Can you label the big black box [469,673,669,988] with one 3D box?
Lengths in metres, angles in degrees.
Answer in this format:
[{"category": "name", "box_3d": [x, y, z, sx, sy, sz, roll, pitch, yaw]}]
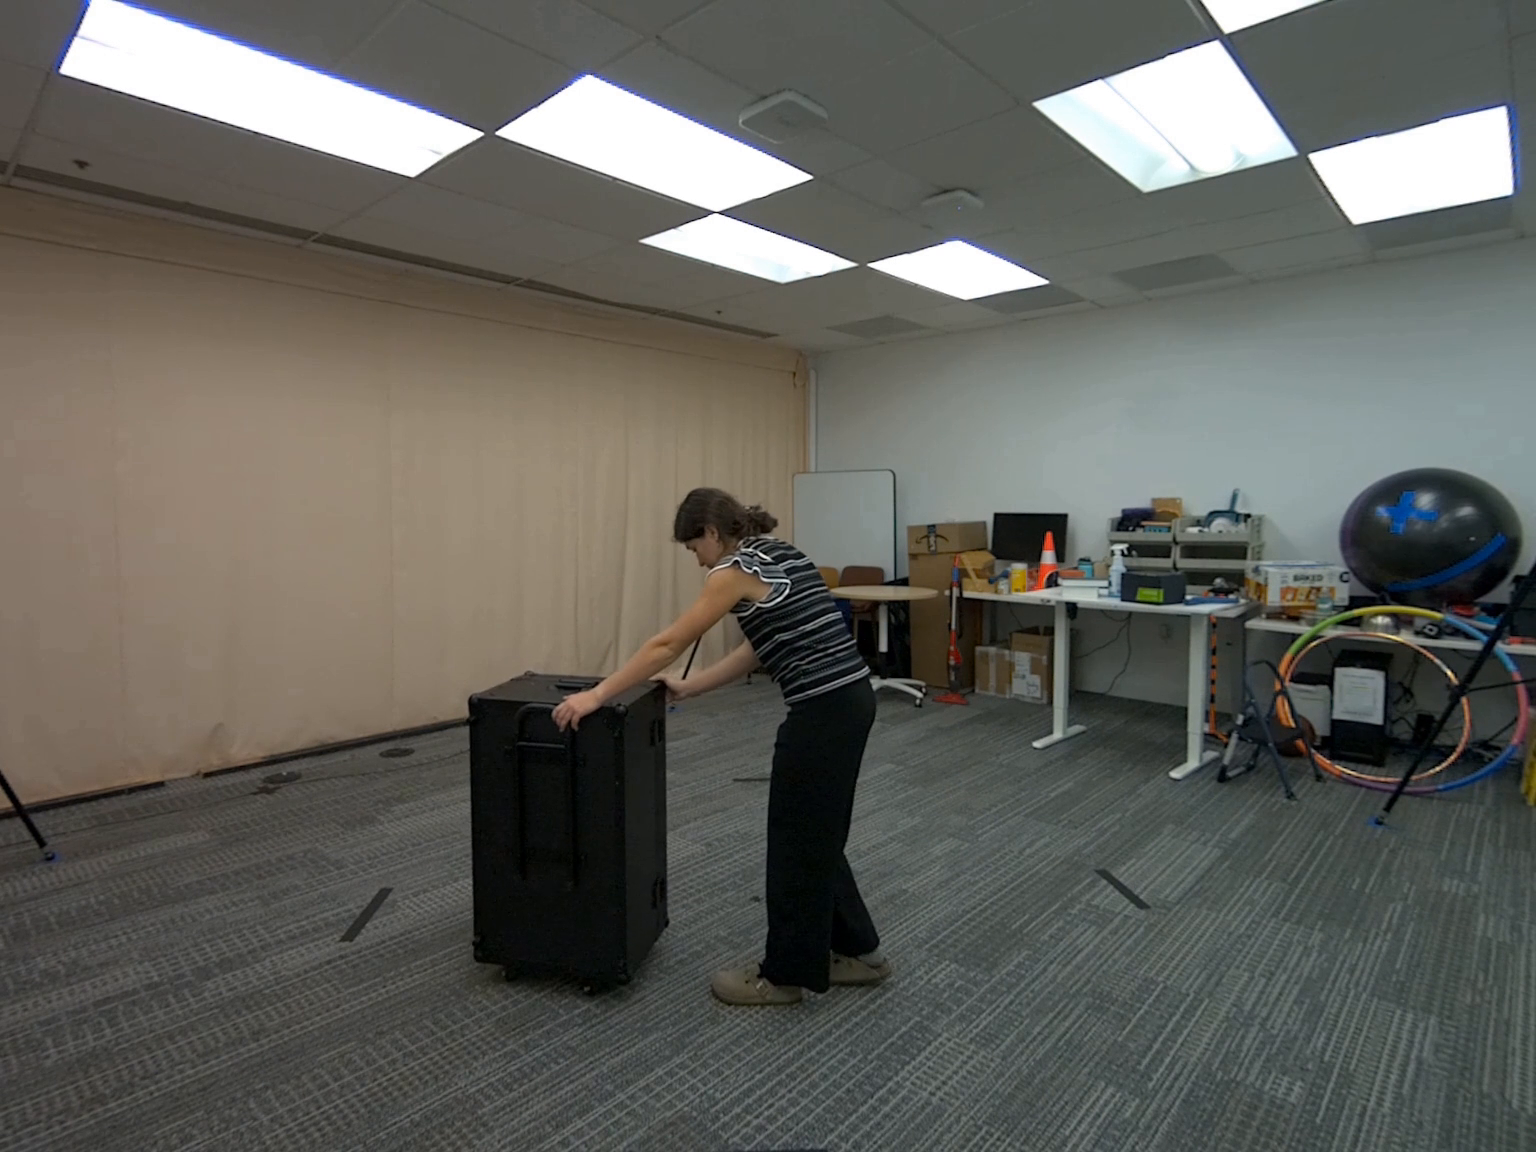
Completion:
[{"category": "big black box", "box_3d": [-0.586, 0.766, 2.530, 0.530, 0.859, 0.391, 1, 4, 14]}]
